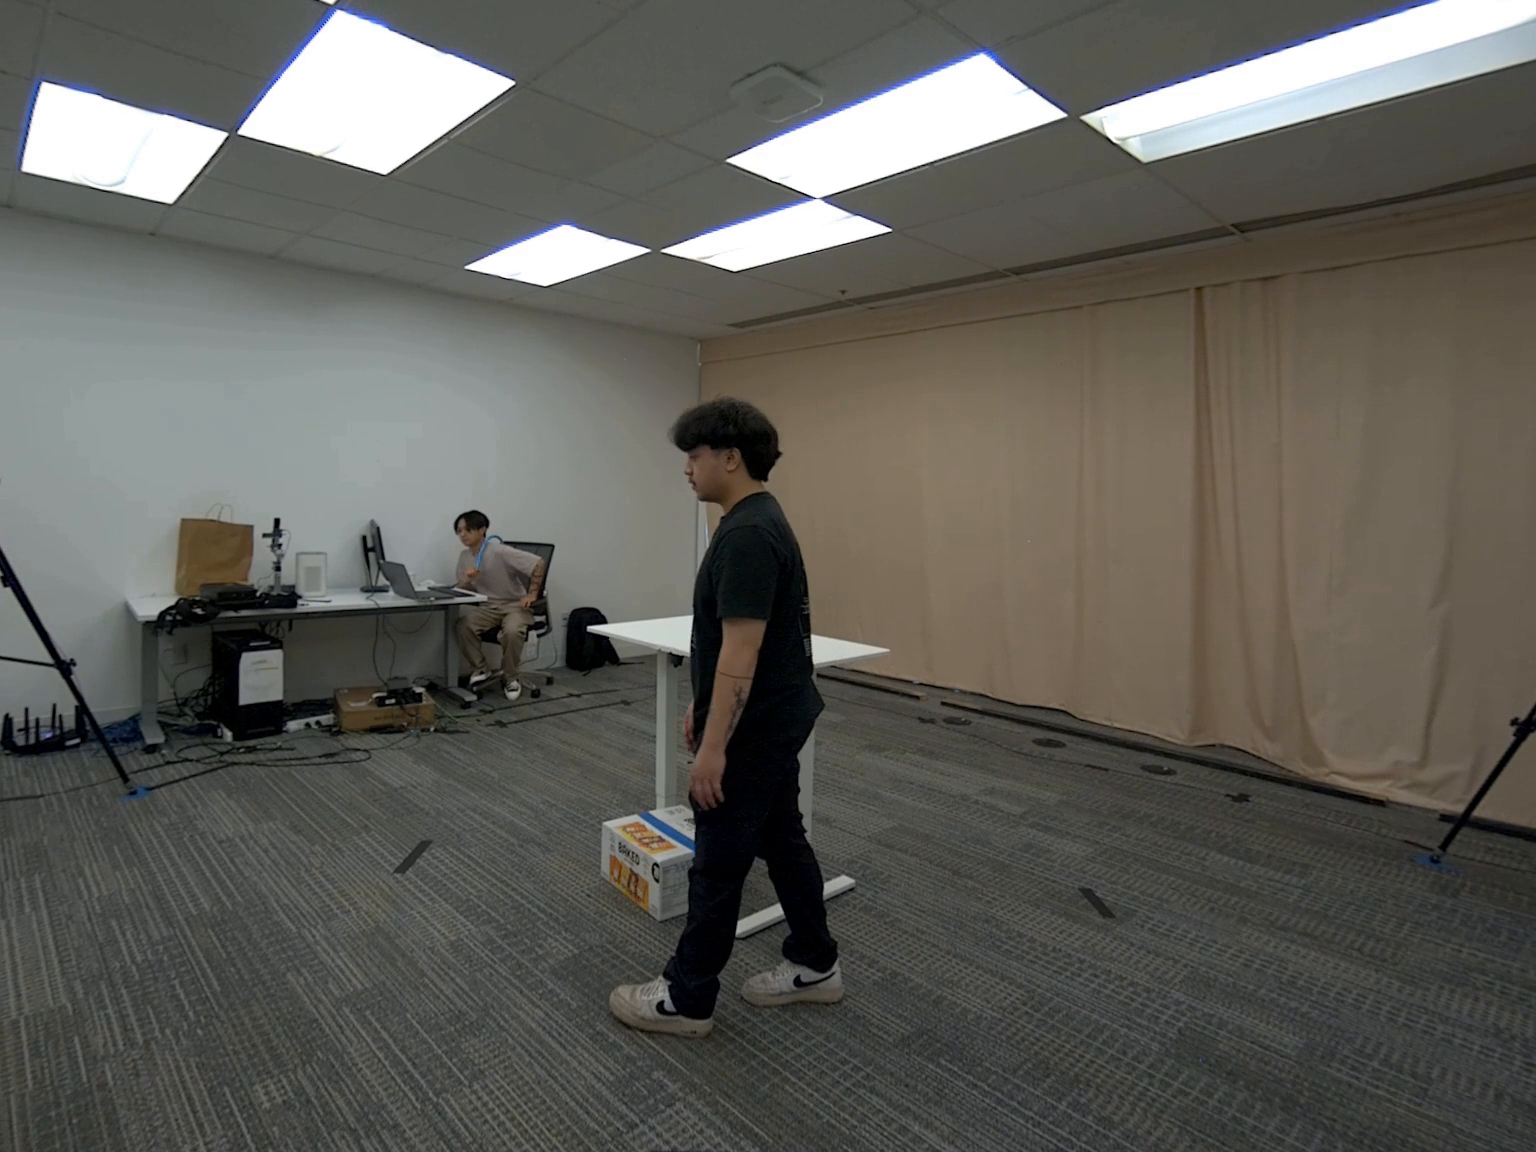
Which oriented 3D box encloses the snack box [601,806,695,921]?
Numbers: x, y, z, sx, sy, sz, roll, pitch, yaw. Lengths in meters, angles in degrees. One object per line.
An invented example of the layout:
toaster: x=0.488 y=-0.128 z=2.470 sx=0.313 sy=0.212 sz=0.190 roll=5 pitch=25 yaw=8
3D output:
snack box: x=-0.355 y=1.014 z=3.004 sx=0.333 sy=0.205 sz=0.415 roll=-2 pitch=6 yaw=-38
